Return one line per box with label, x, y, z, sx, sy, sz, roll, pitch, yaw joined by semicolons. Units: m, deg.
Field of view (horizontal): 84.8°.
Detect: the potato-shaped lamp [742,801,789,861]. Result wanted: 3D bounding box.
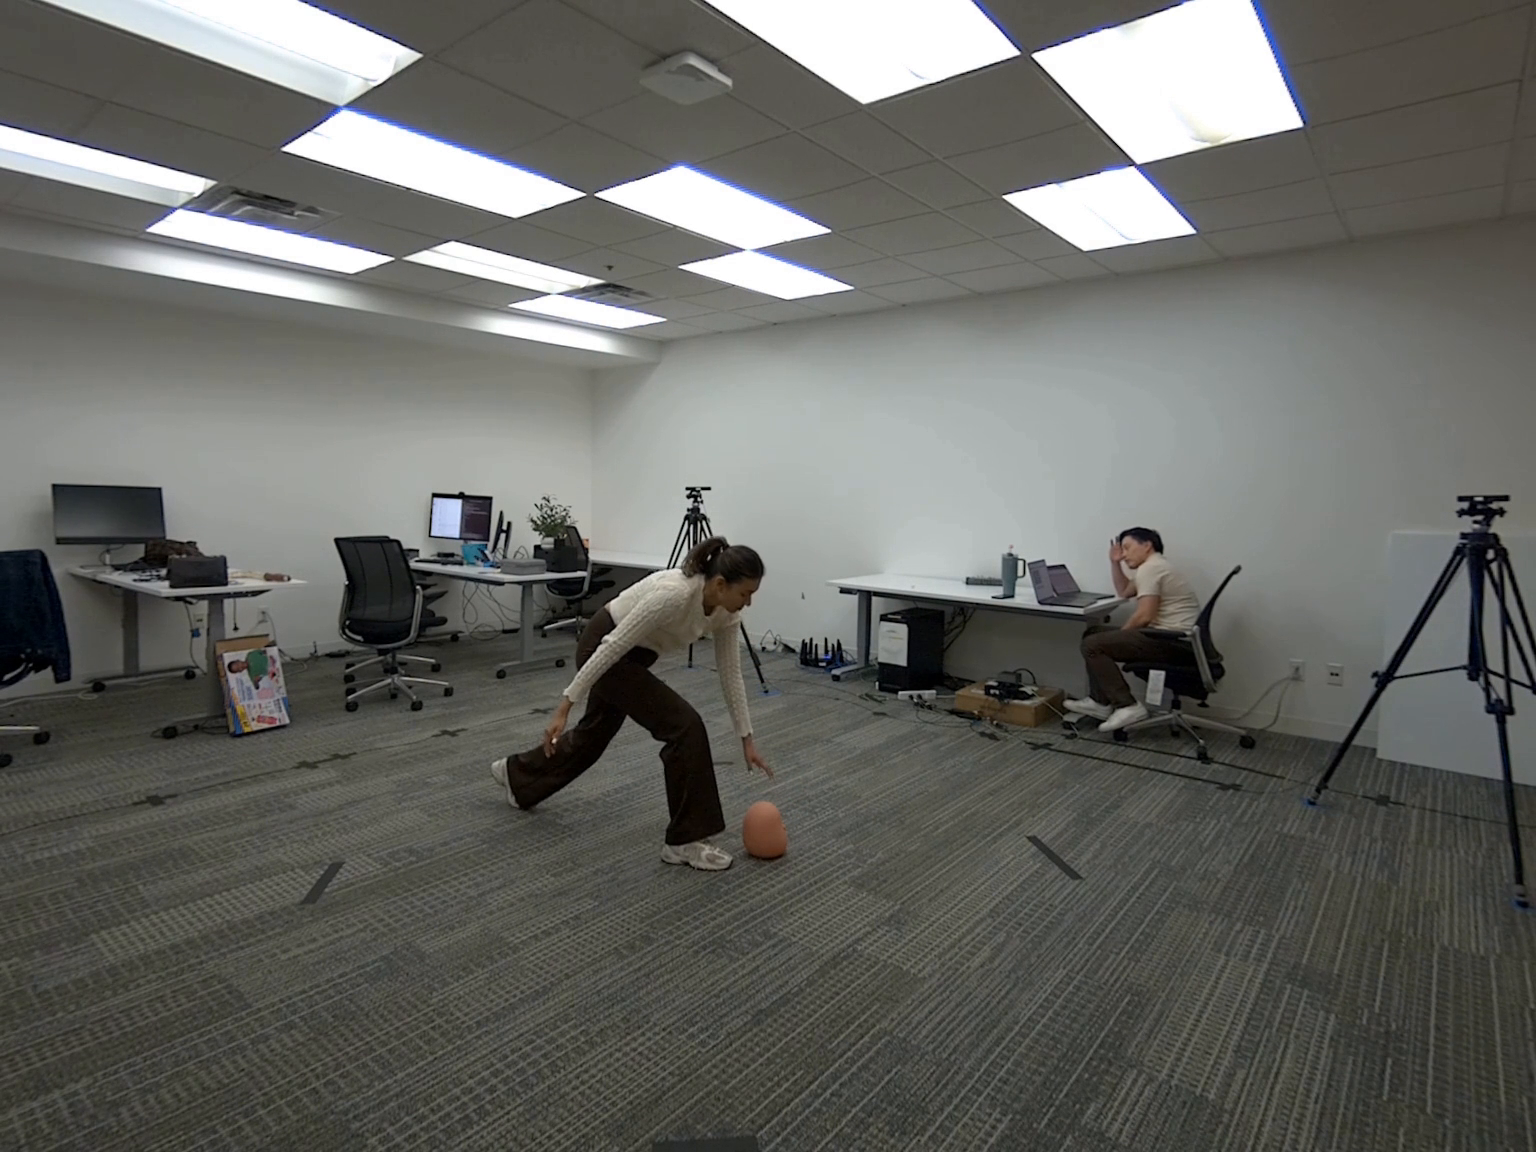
potato-shaped lamp;-0.024;0.957;3.238;0.166;0.197;0.170;-2;4;-37
